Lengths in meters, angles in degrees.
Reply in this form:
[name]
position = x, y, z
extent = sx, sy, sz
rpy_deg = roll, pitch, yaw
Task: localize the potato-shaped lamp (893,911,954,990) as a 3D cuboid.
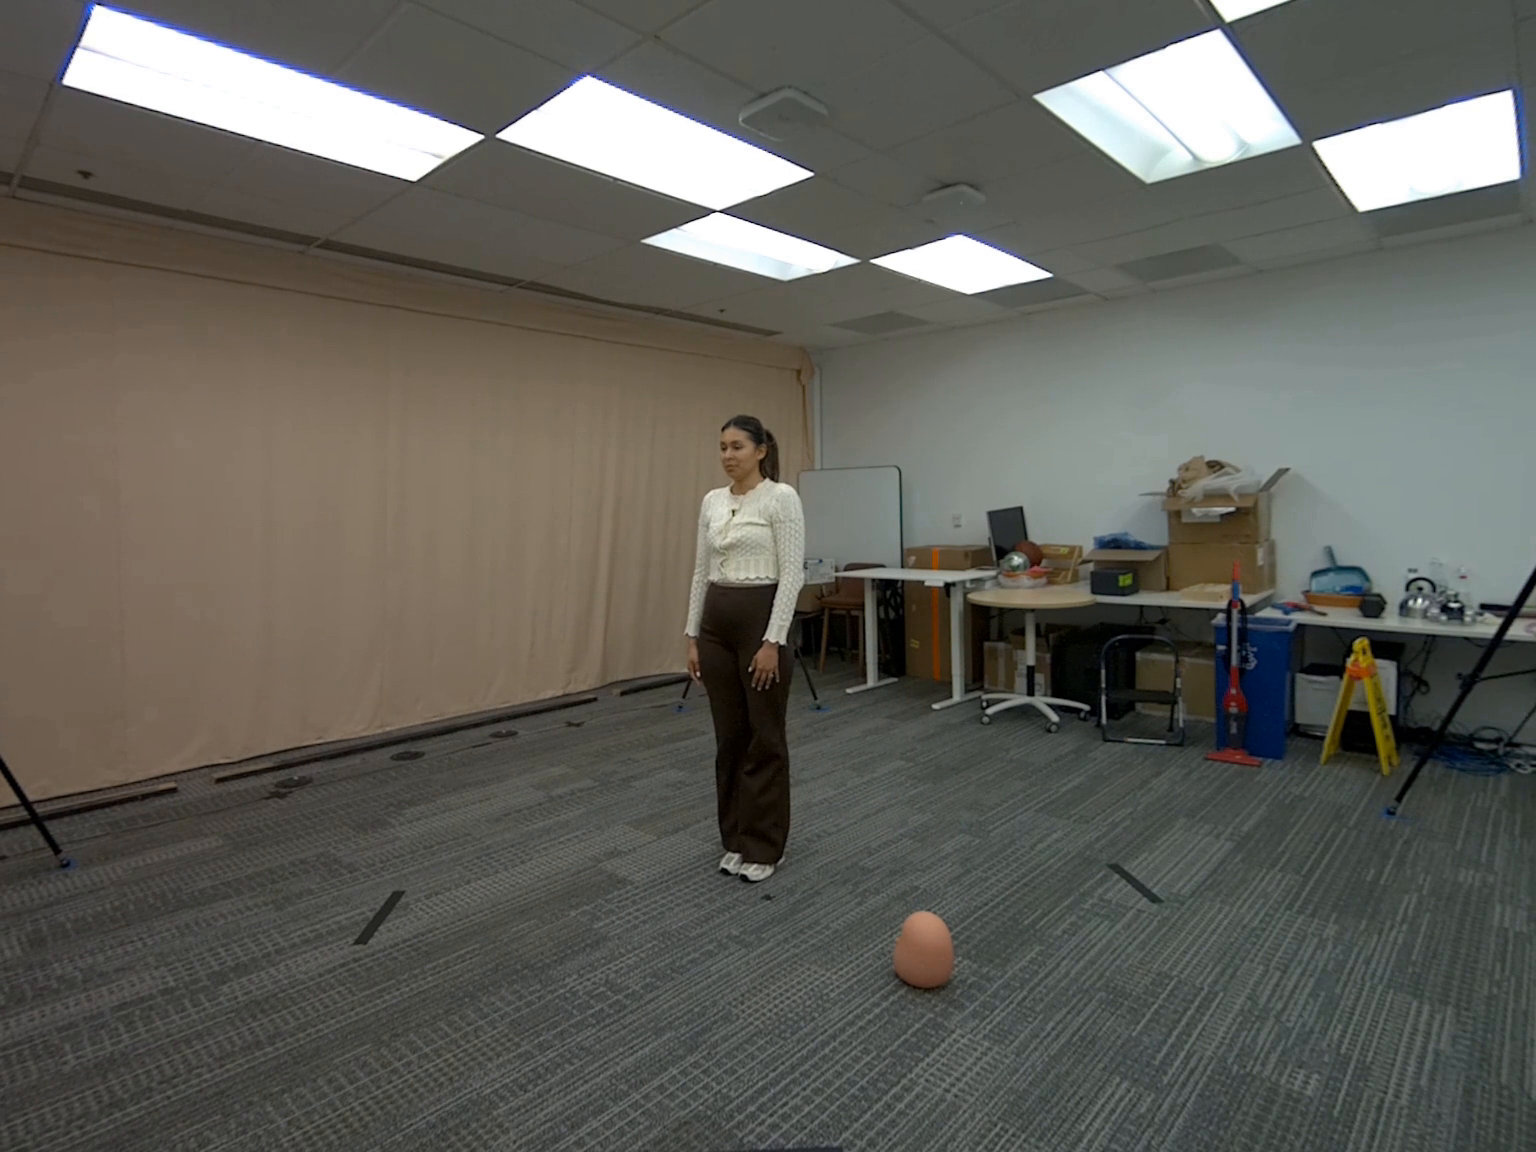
[potato-shaped lamp]
position = 0.455, 1.080, 2.443
extent = 0.161, 0.197, 0.176
rpy_deg = -4, 8, -26
